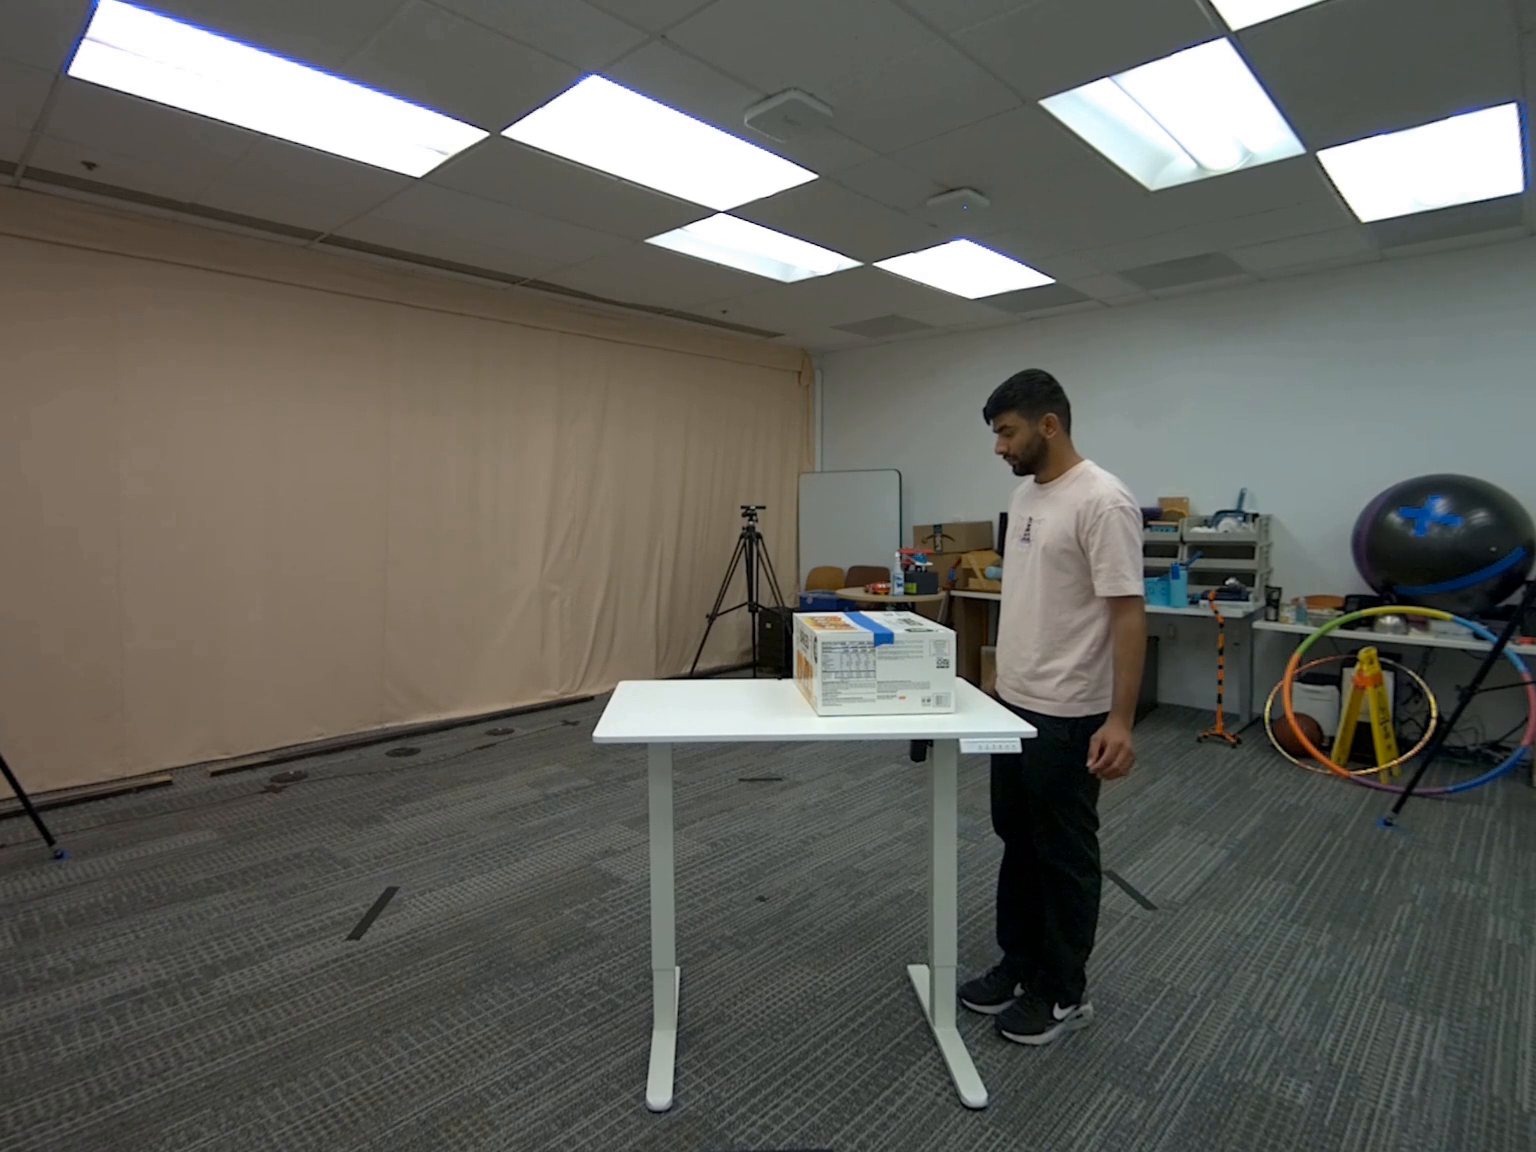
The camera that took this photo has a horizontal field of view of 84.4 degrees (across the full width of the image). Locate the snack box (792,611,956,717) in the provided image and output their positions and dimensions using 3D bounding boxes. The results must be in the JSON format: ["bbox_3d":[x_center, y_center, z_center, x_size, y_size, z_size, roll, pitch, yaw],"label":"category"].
[{"bbox_3d":[0.271,0.223,2.232,0.339,0.205,0.408,-1,4,-5],"label":"snack box"}]
